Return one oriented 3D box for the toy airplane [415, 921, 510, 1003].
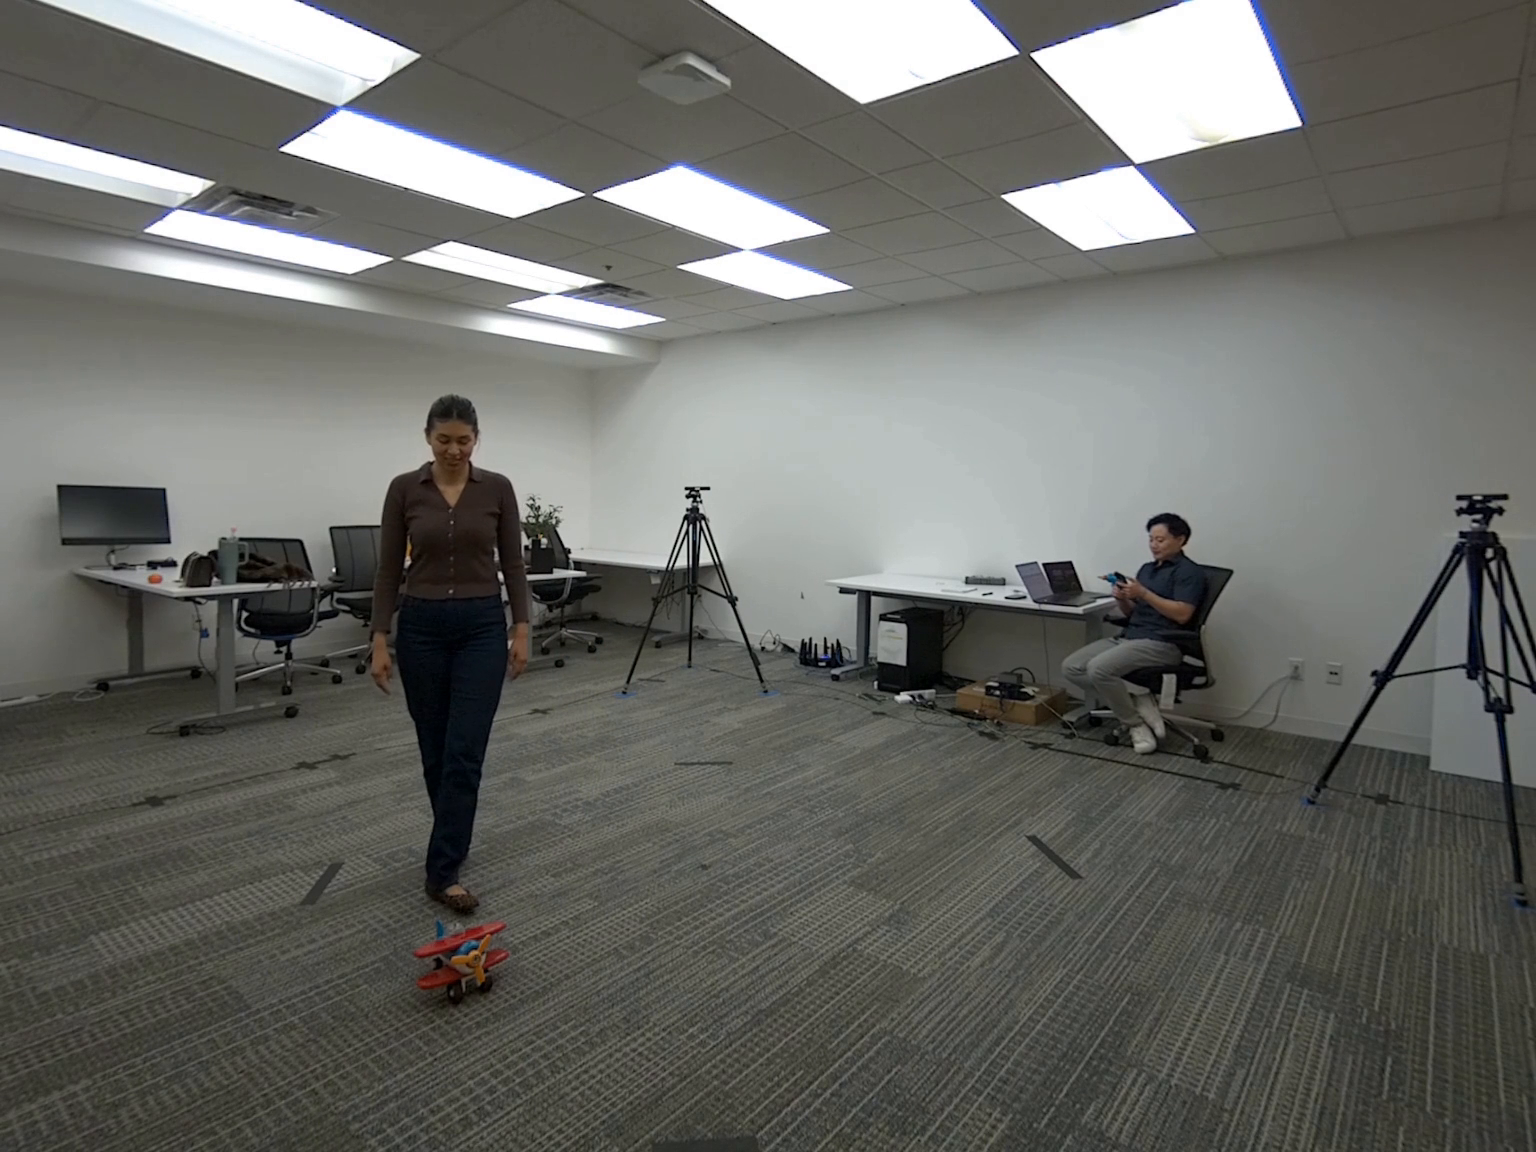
[{"bbox_3d":[-0.885,1.058,2.359,0.265,0.156,0.247,3,6,20],"label":"toy airplane"}]
